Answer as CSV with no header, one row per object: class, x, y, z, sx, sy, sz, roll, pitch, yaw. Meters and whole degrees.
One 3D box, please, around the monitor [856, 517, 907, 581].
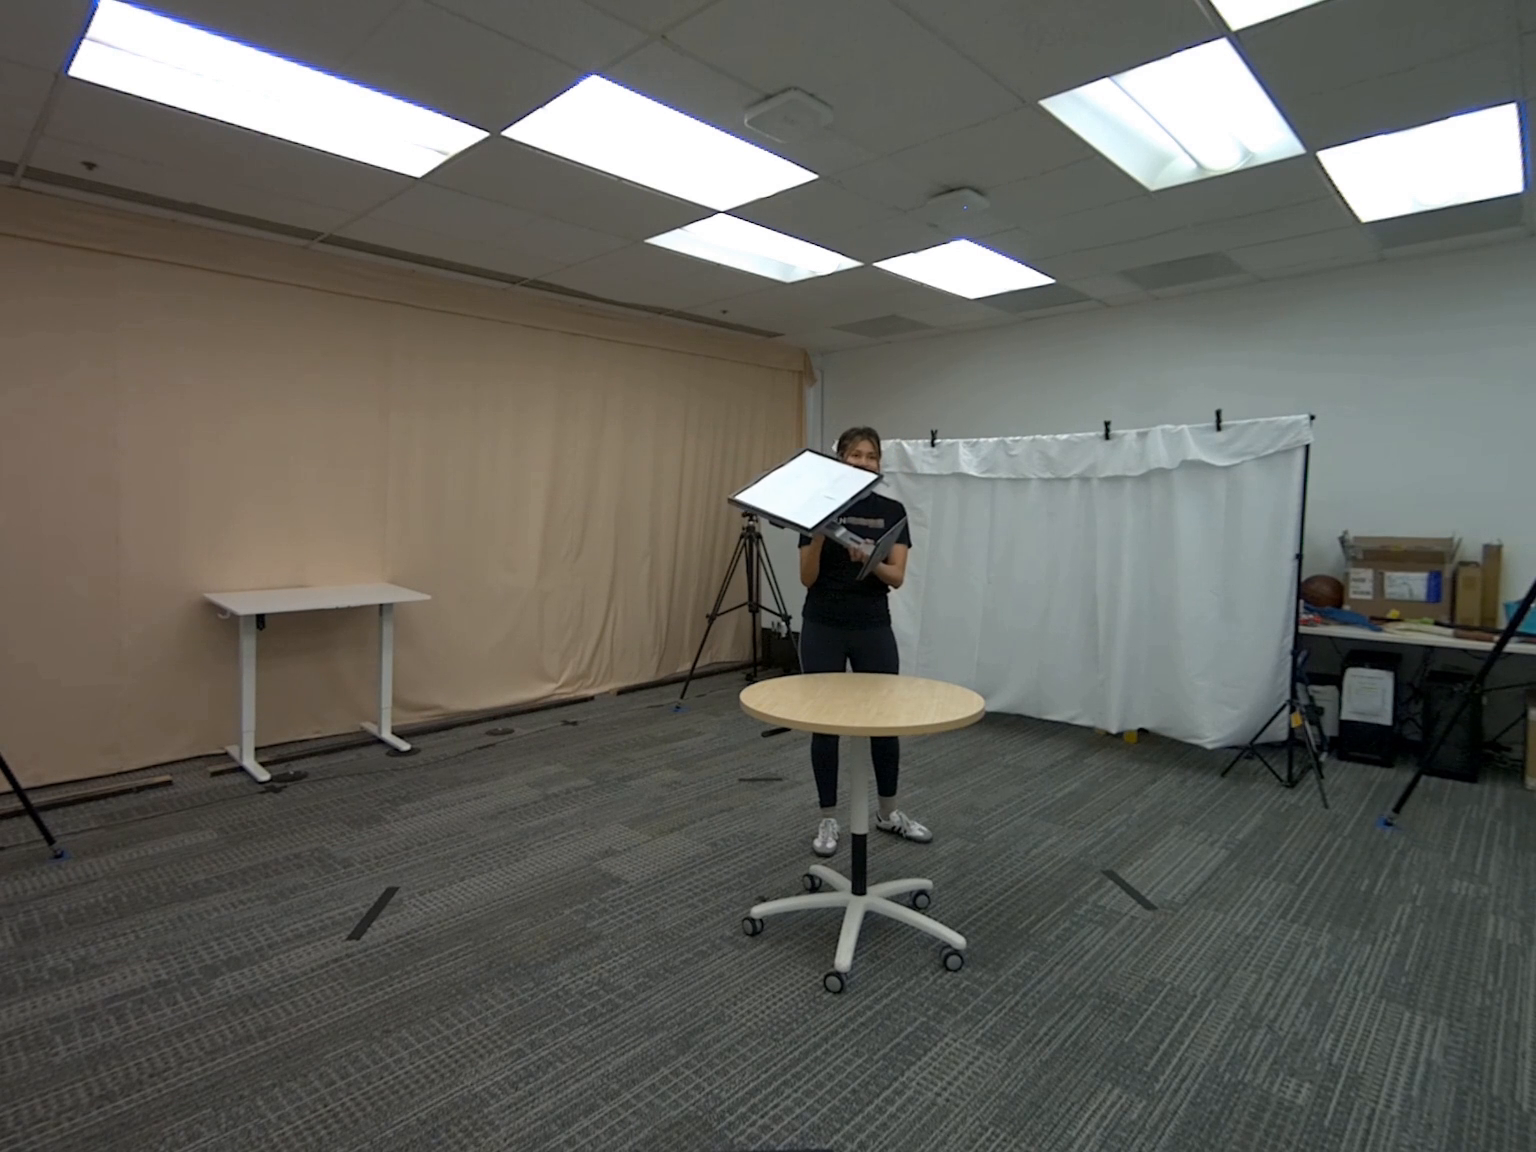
monitor,0.213,-0.259,3.169,0.535,0.186,0.530,35,42,20
